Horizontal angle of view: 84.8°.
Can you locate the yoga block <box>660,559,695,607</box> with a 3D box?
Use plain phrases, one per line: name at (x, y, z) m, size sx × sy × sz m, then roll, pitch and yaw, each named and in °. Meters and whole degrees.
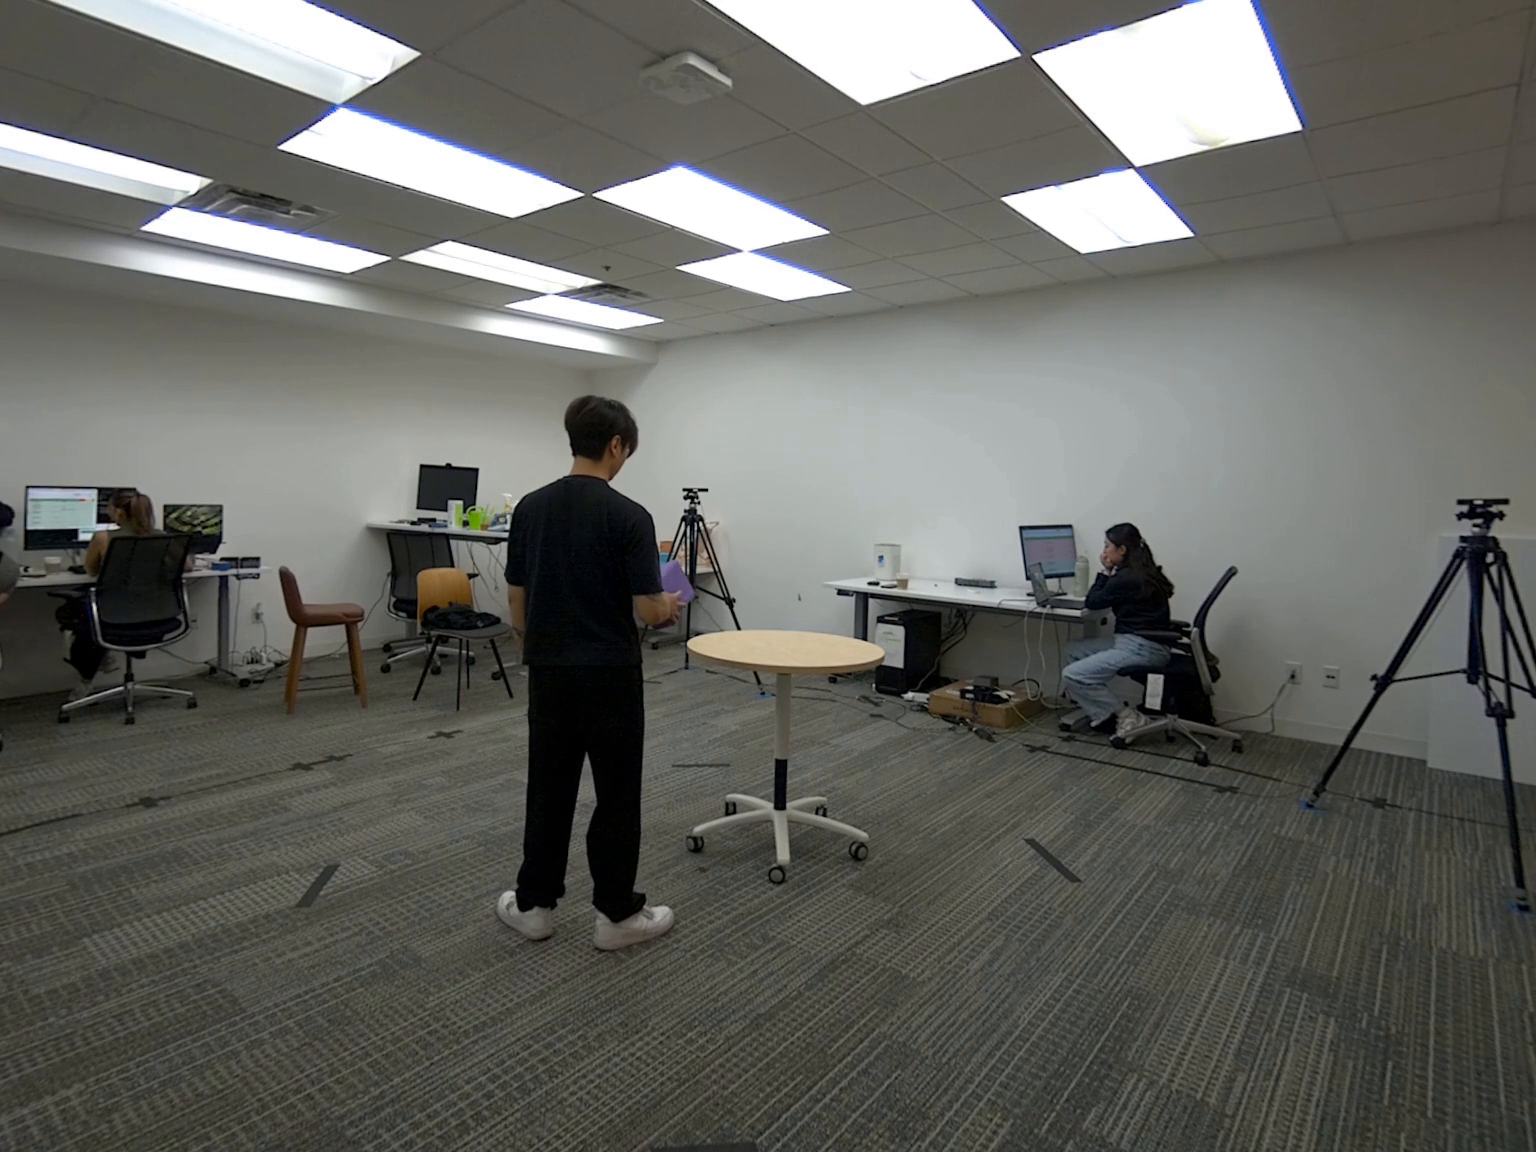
yoga block at (-0.350, 0.061, 2.897) m, size 0.078 × 0.146 × 0.229 m, roll -17°, pitch 19°, yaw 32°
